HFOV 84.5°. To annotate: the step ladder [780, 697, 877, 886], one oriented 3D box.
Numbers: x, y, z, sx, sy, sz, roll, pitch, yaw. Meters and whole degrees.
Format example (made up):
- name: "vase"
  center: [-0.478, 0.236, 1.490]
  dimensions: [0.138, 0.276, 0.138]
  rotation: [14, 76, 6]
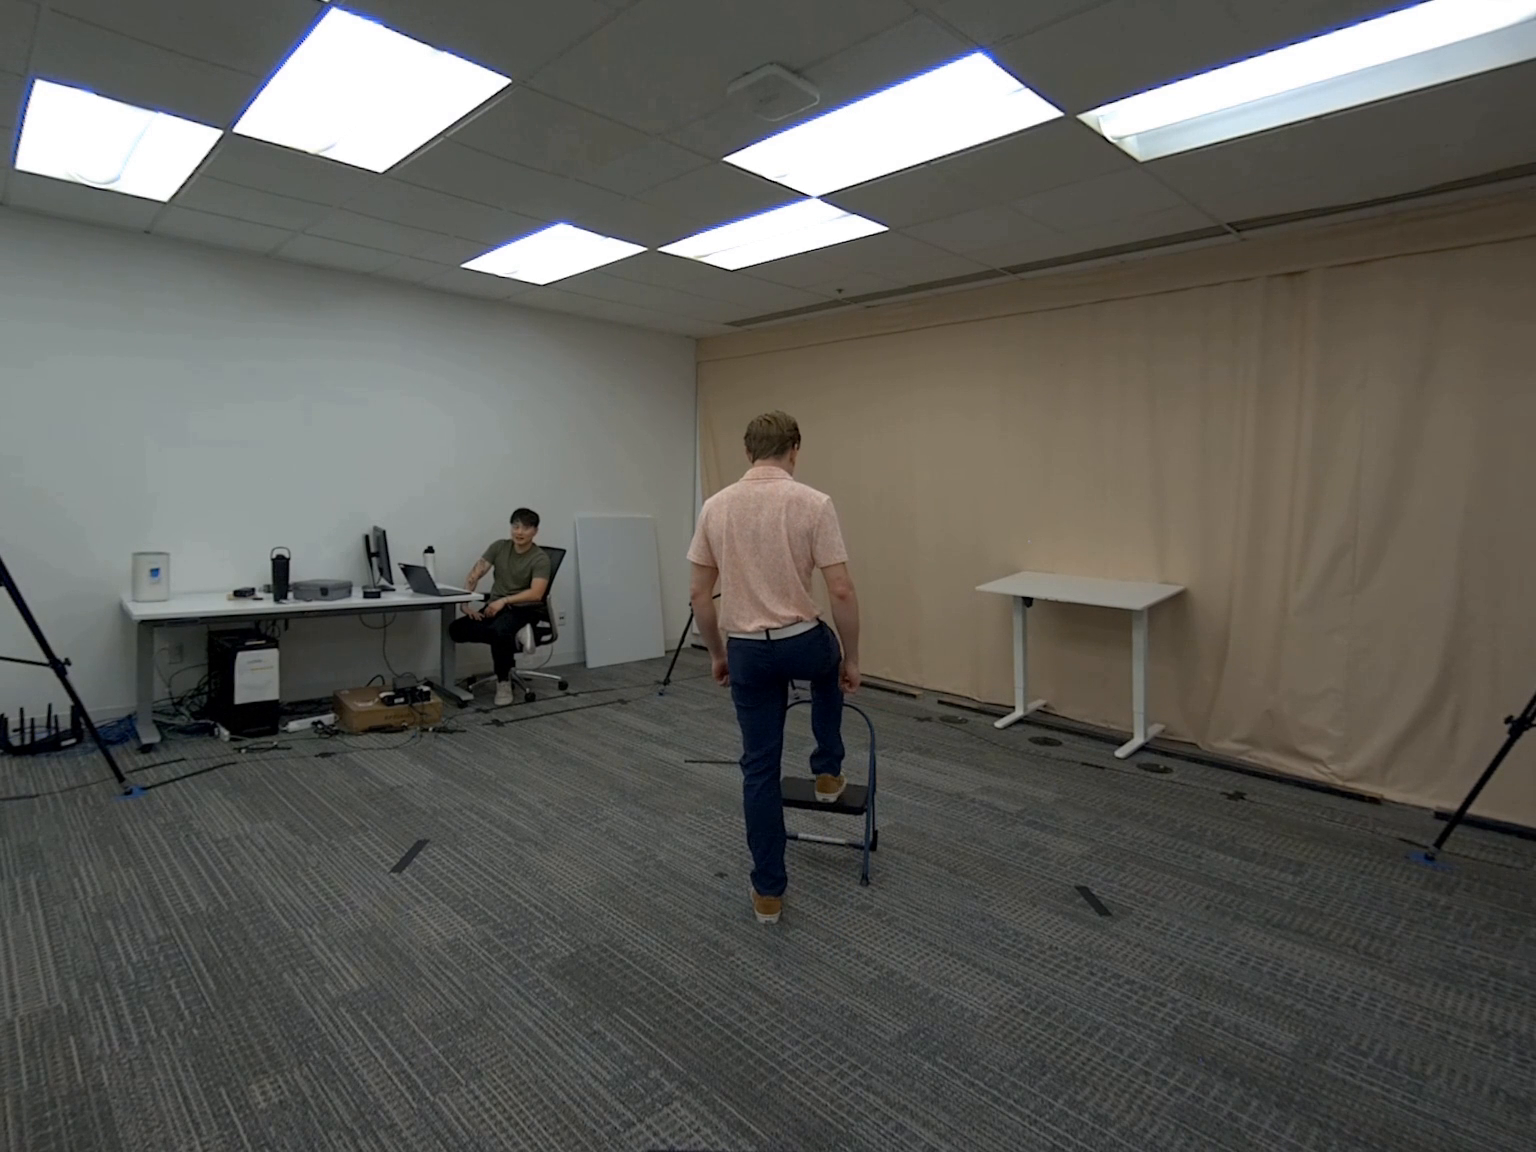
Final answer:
- name: "step ladder"
  center: [0.203, 0.797, 3.255]
  dimensions: [0.436, 0.605, 0.345]
  rotation: [3, 3, 15]
